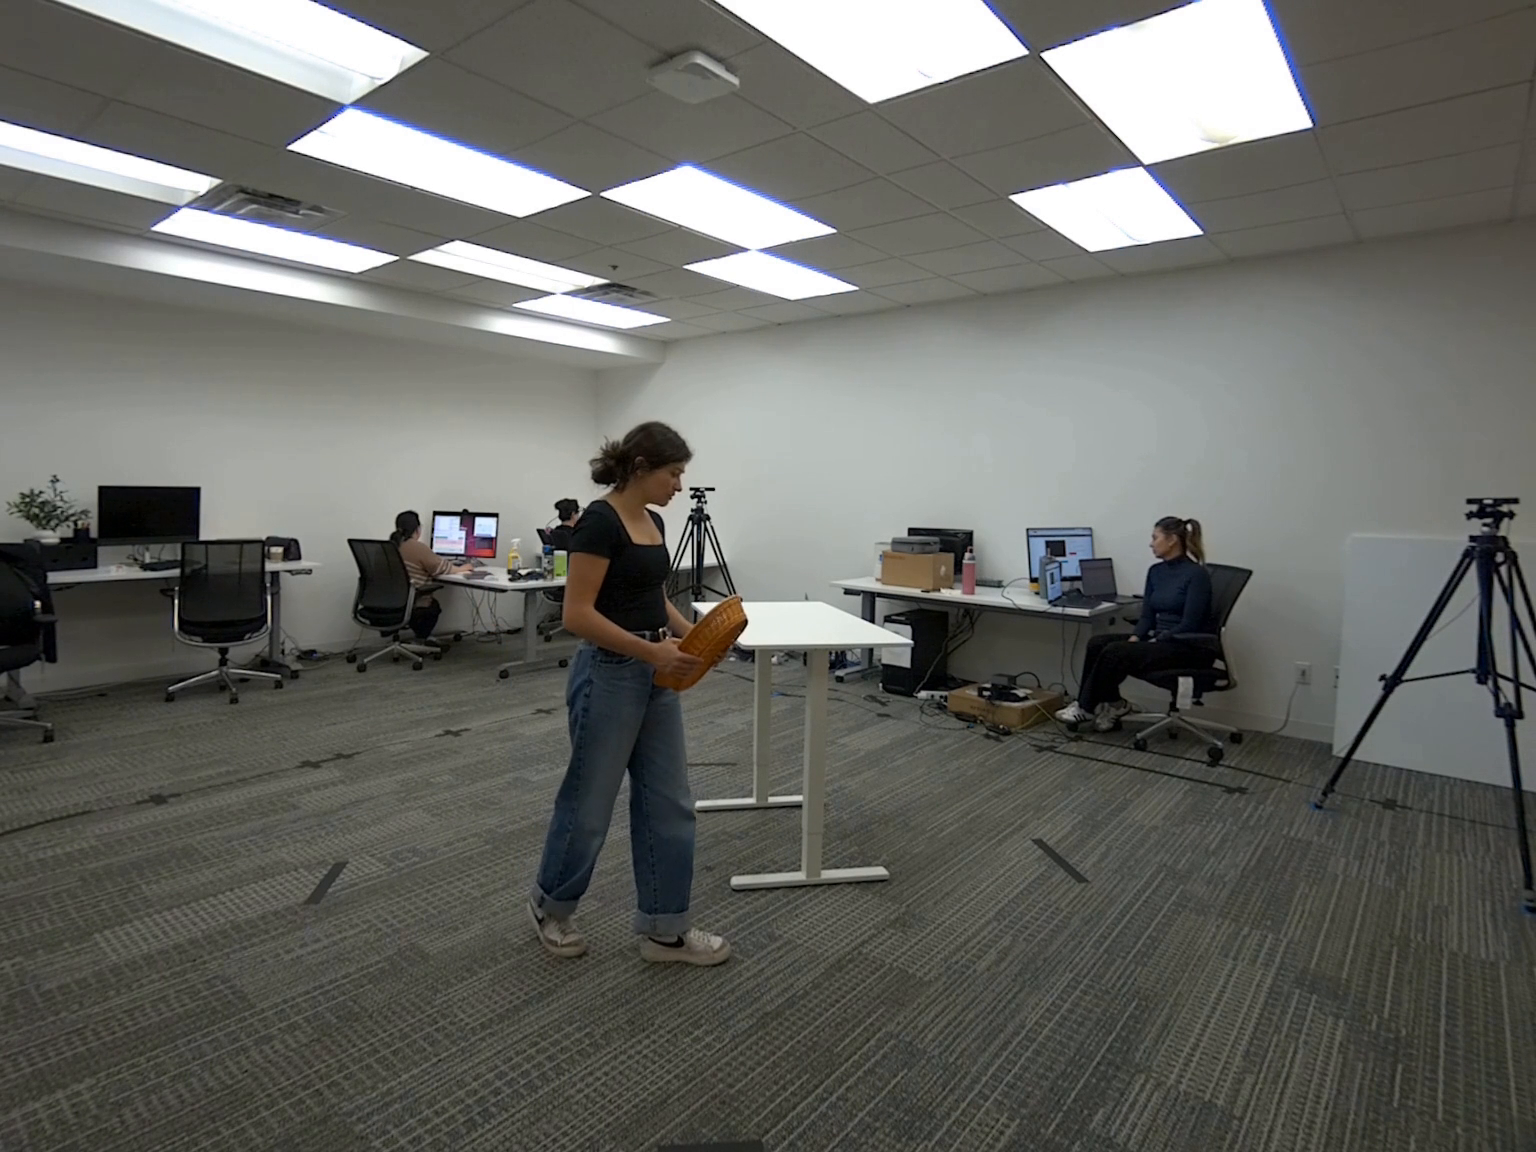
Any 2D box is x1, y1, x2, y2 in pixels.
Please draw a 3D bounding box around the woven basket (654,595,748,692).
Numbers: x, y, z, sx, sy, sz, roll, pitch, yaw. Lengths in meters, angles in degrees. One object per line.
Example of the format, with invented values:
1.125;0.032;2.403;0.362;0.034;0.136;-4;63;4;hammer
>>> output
-0.184;0.202;2.377;0.075;0.349;0.249;44;28;9;woven basket
